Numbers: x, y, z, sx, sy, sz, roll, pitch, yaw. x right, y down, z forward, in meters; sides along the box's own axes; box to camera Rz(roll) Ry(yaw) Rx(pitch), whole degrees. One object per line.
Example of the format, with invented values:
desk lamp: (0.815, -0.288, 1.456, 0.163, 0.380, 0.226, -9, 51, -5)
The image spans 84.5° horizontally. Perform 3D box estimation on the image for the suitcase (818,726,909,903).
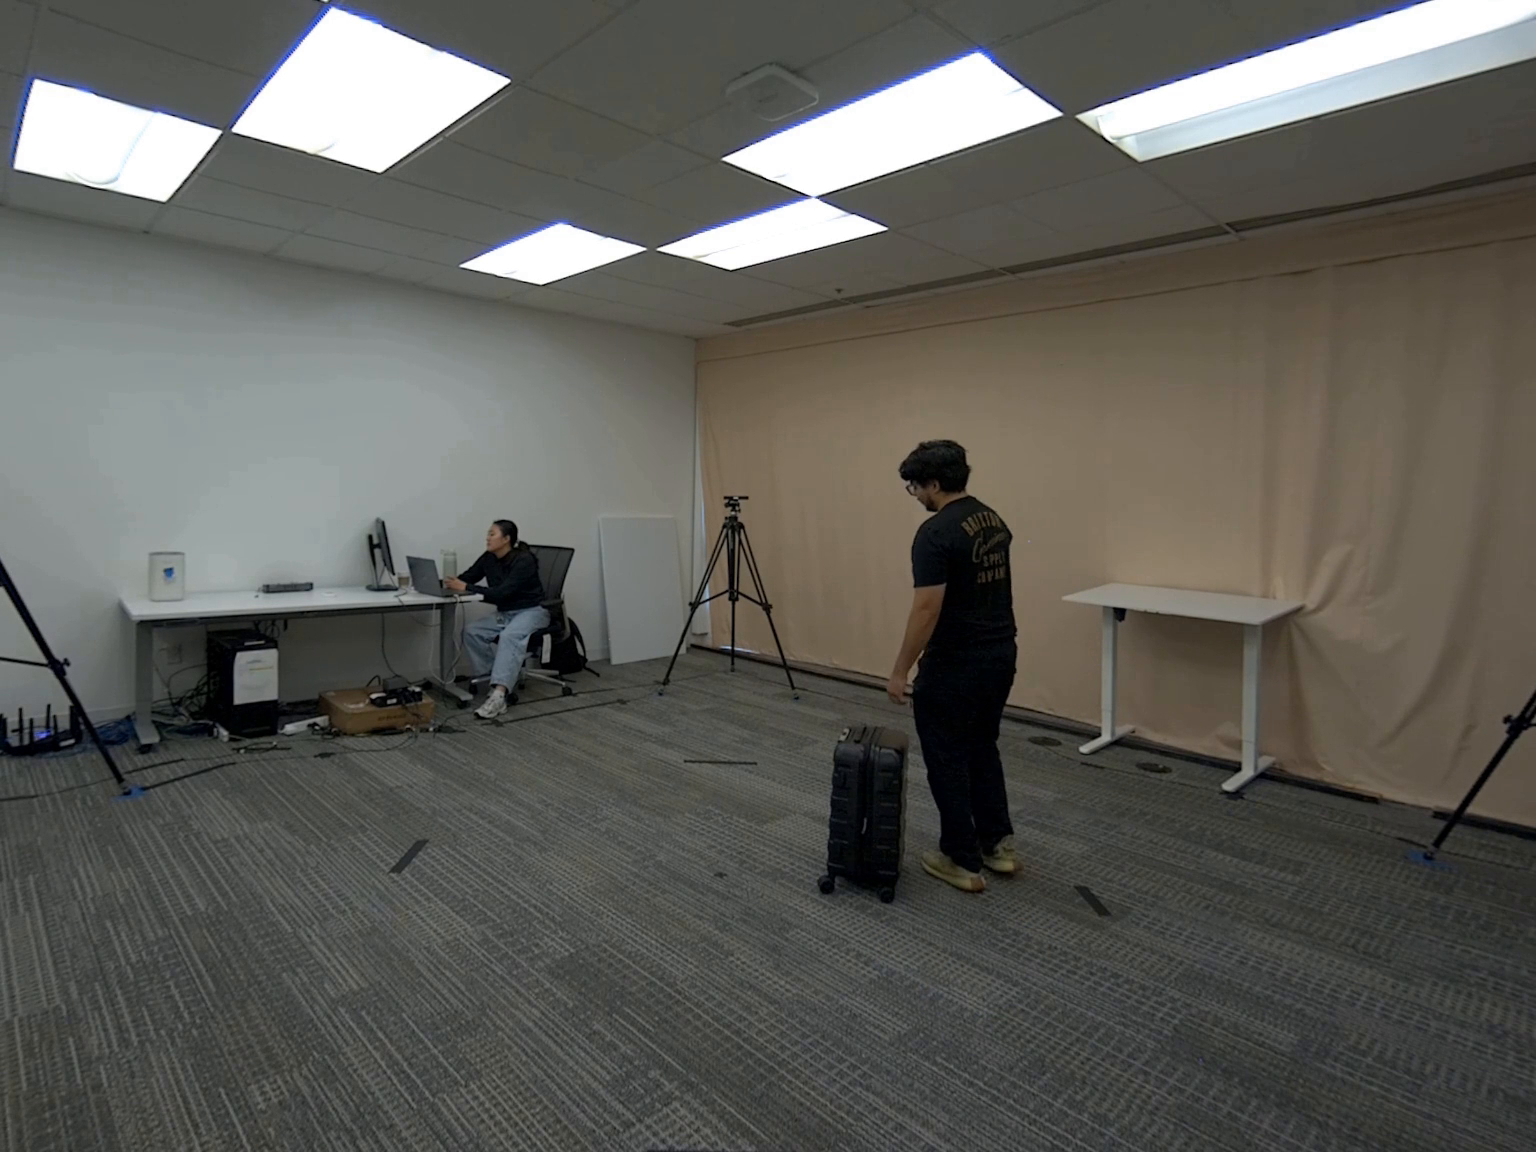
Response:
suitcase: (0.365, 0.840, 3.085, 0.251, 0.548, 0.372, 4, 3, 13)
